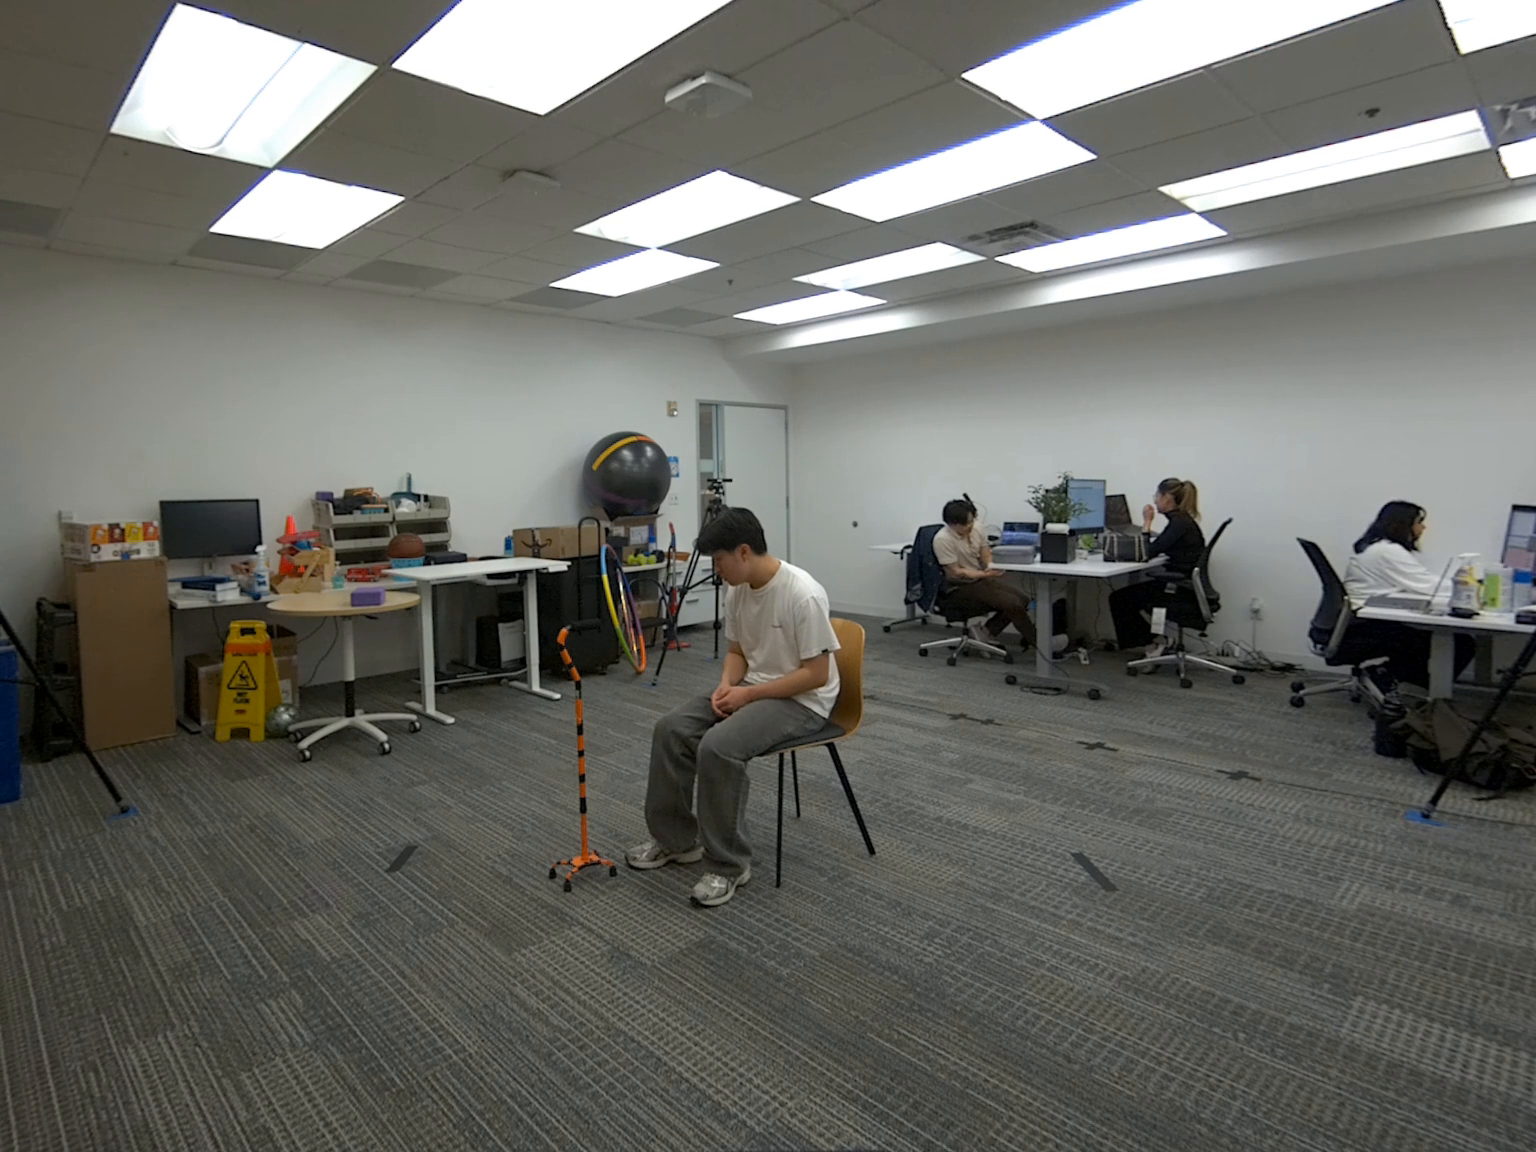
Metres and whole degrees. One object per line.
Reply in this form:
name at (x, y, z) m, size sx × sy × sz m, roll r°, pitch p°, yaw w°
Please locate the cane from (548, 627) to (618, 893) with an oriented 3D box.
cane at (-0.667, 0.612, 3.006) m, size 0.201 × 0.904 × 0.156 m, roll -5°, pitch 5°, yaw -38°
